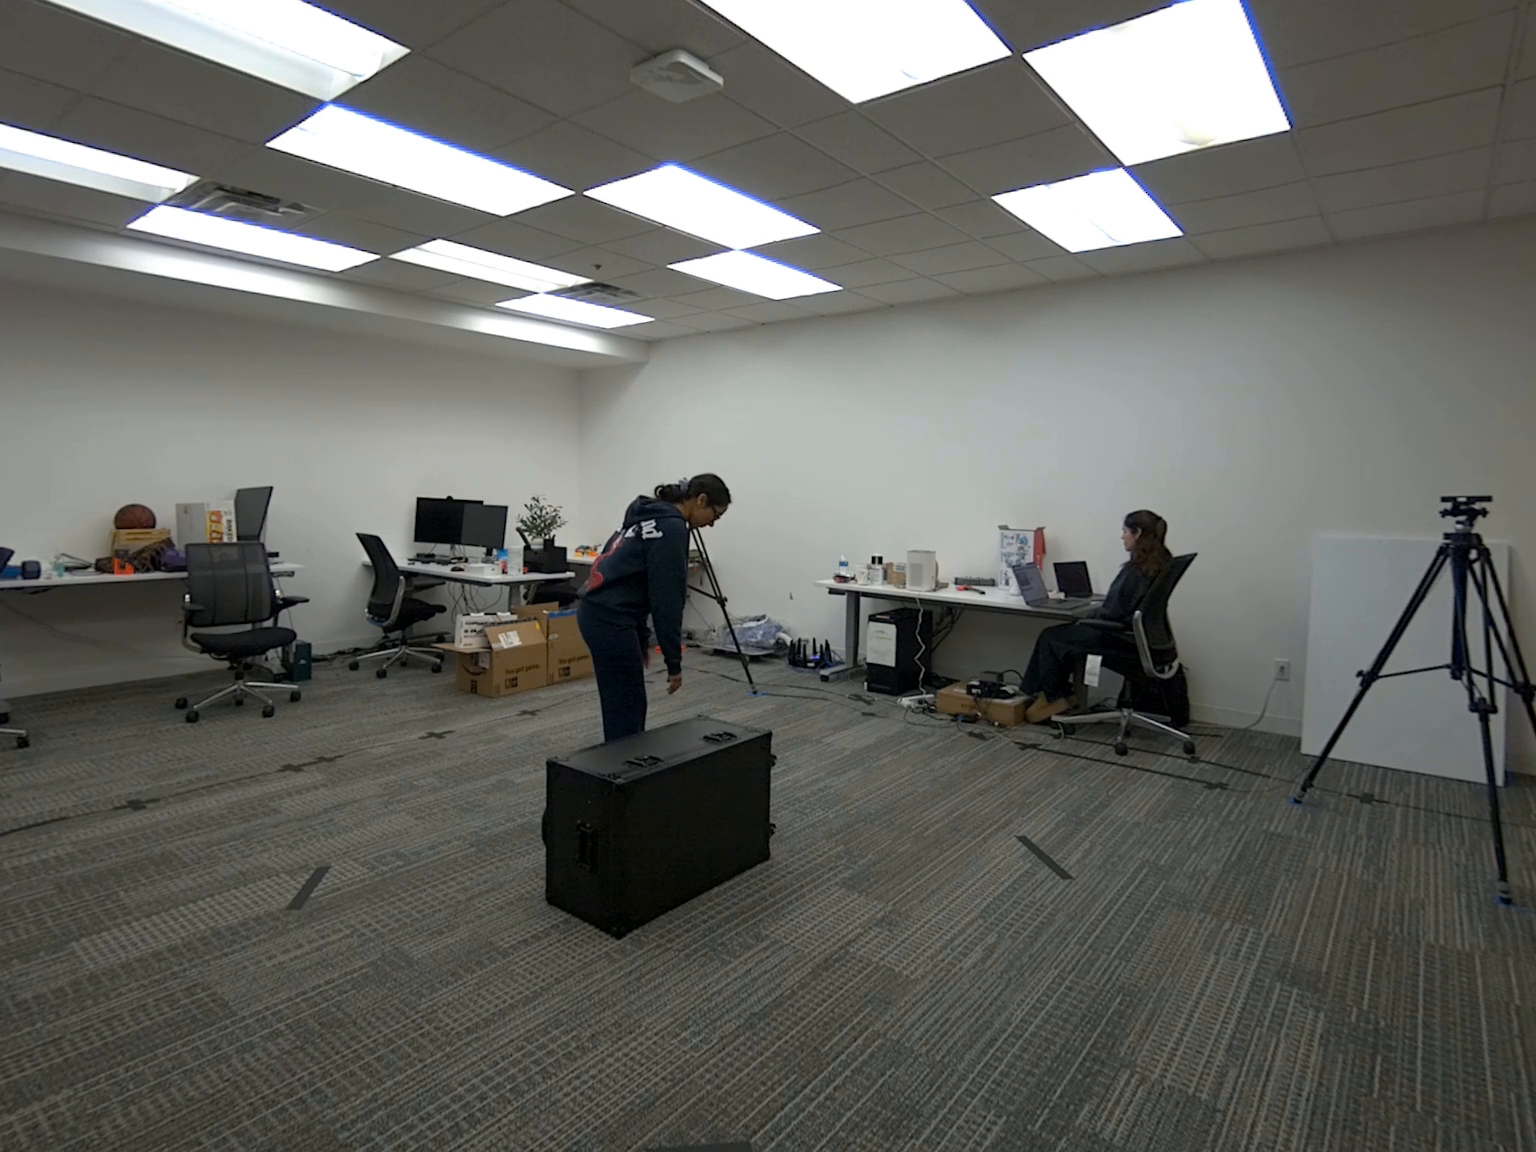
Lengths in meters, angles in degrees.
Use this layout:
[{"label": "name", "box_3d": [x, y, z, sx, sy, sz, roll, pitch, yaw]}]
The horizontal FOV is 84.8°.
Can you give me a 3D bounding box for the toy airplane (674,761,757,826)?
[{"label": "toy airplane", "box_3d": [-0.234, 0.937, 3.652, 0.252, 0.156, 0.259, -2, 7, -32]}]
